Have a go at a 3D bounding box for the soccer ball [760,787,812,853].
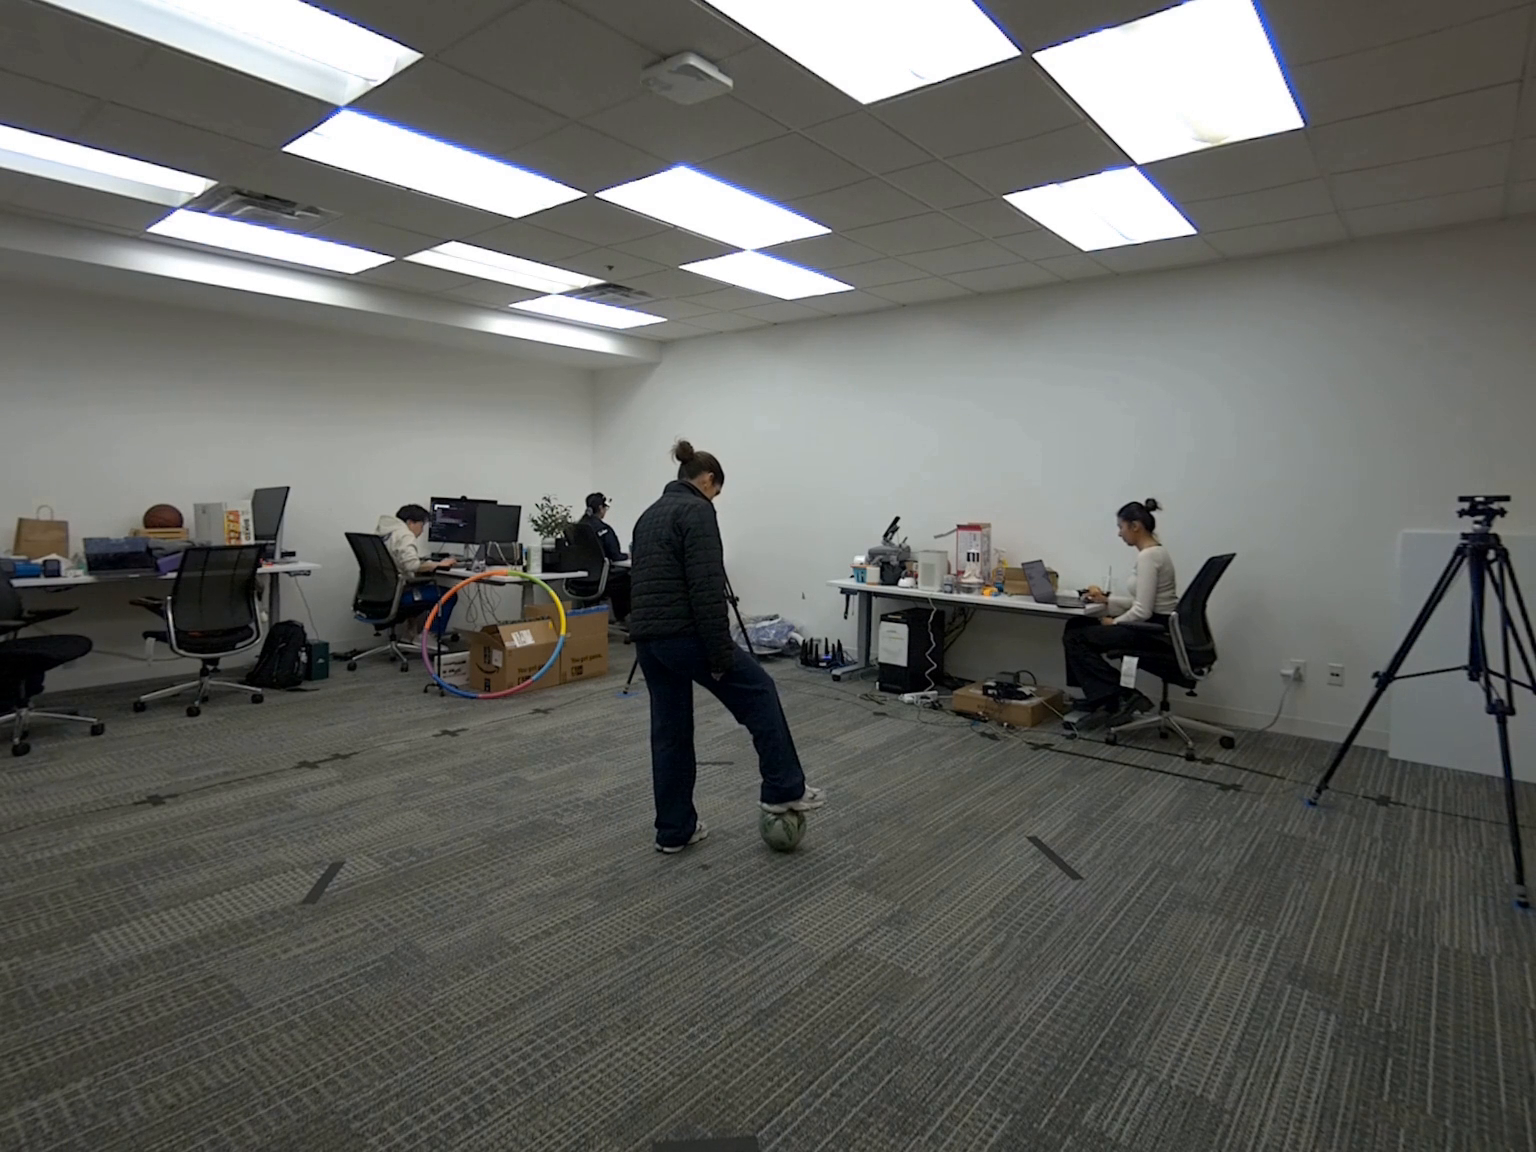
[{"bbox_3d":[0.035,0.958,3.292,0.187,0.187,0.188,1,4,-2],"label":"soccer ball"}]
